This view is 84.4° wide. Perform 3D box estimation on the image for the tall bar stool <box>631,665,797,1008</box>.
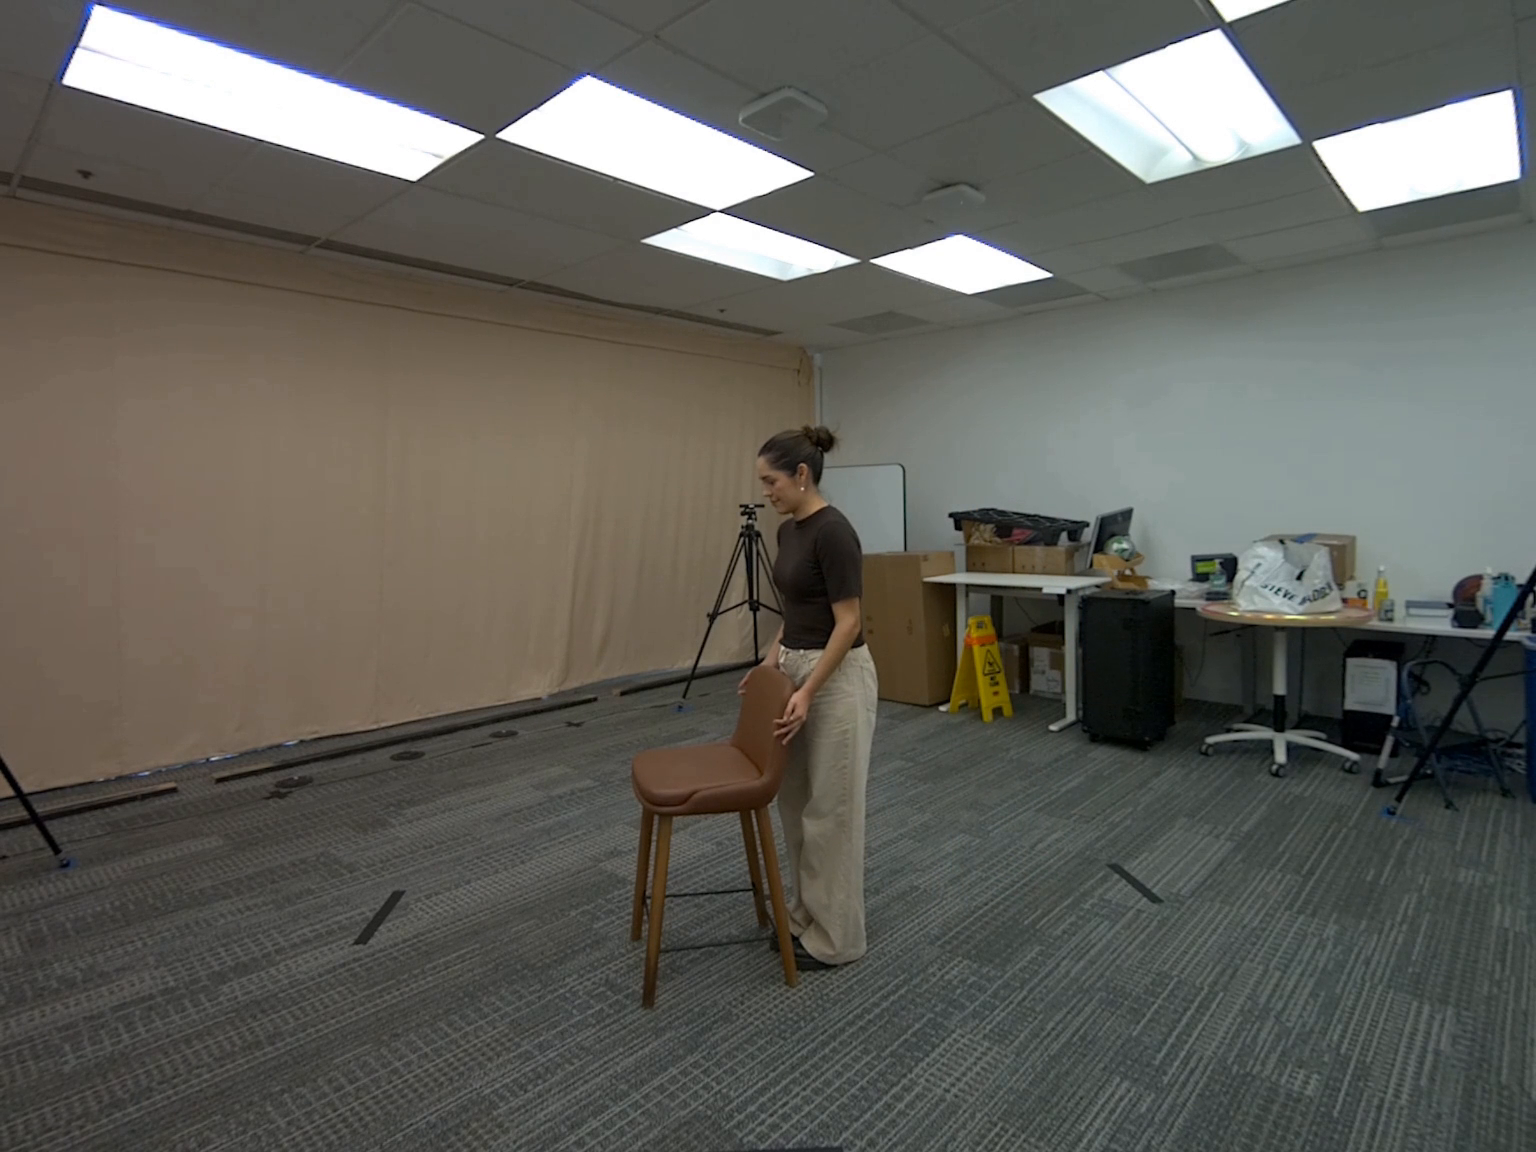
[{"bbox_3d":[-0.176,0.747,2.551,0.461,0.888,0.464,0,3,-13],"label":"tall bar stool"}]
